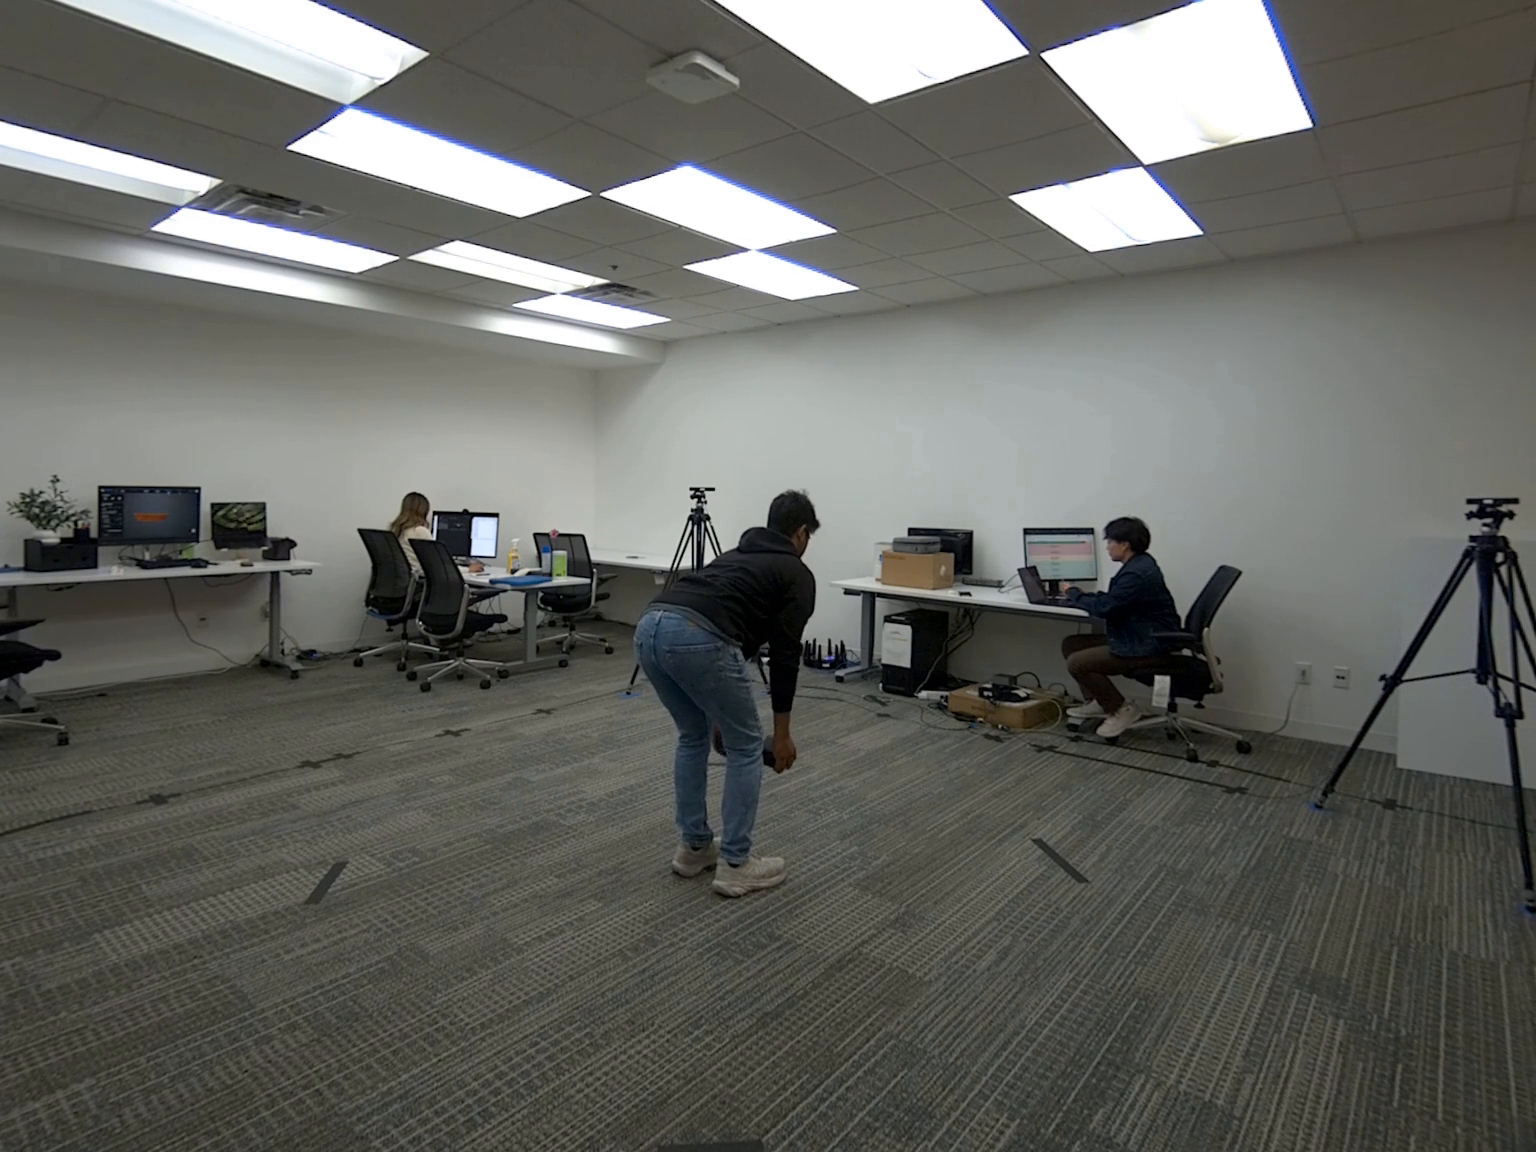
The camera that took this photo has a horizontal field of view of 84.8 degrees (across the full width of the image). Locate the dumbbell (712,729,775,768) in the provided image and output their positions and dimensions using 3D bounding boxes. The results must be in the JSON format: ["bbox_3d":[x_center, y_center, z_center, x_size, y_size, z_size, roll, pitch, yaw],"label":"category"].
[{"bbox_3d":[-0.074,0.638,3.171,0.304,0.105,0.122,9,43,43],"label":"dumbbell"}]
